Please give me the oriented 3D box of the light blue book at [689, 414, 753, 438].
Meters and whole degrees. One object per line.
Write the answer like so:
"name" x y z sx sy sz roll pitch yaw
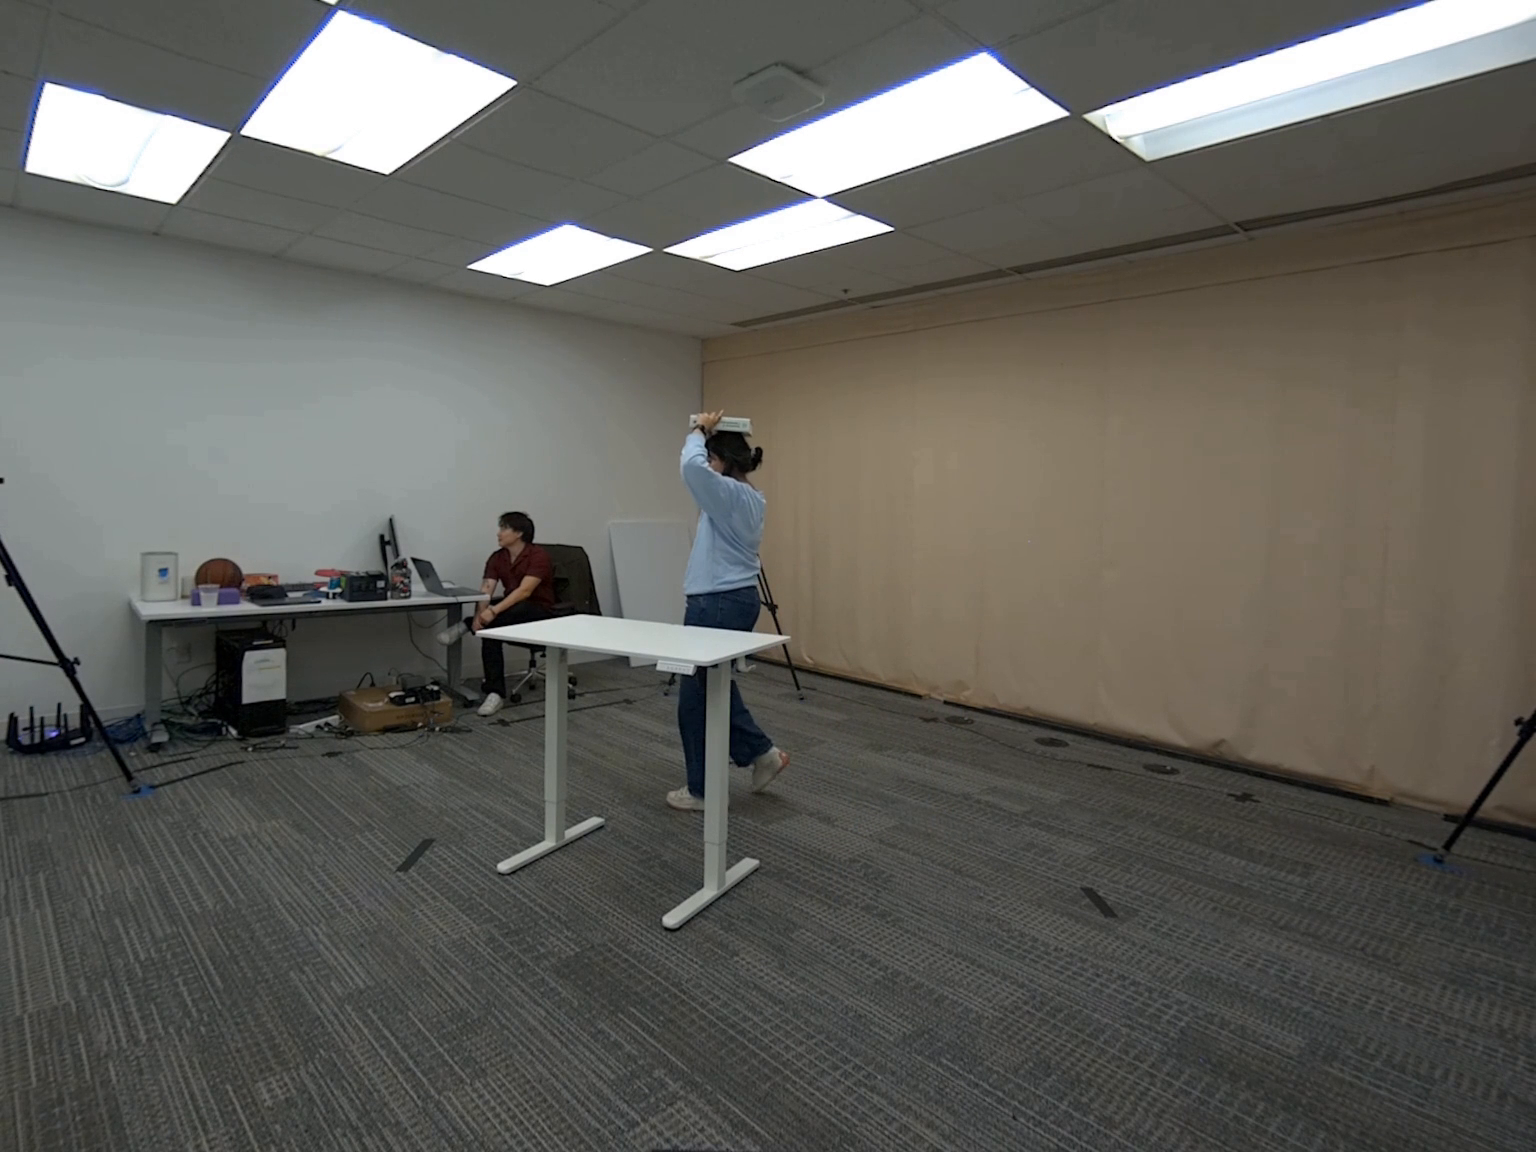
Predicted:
"light blue book" -0.222 -0.673 3.748 0.262 0.059 0.191 2 1 3
